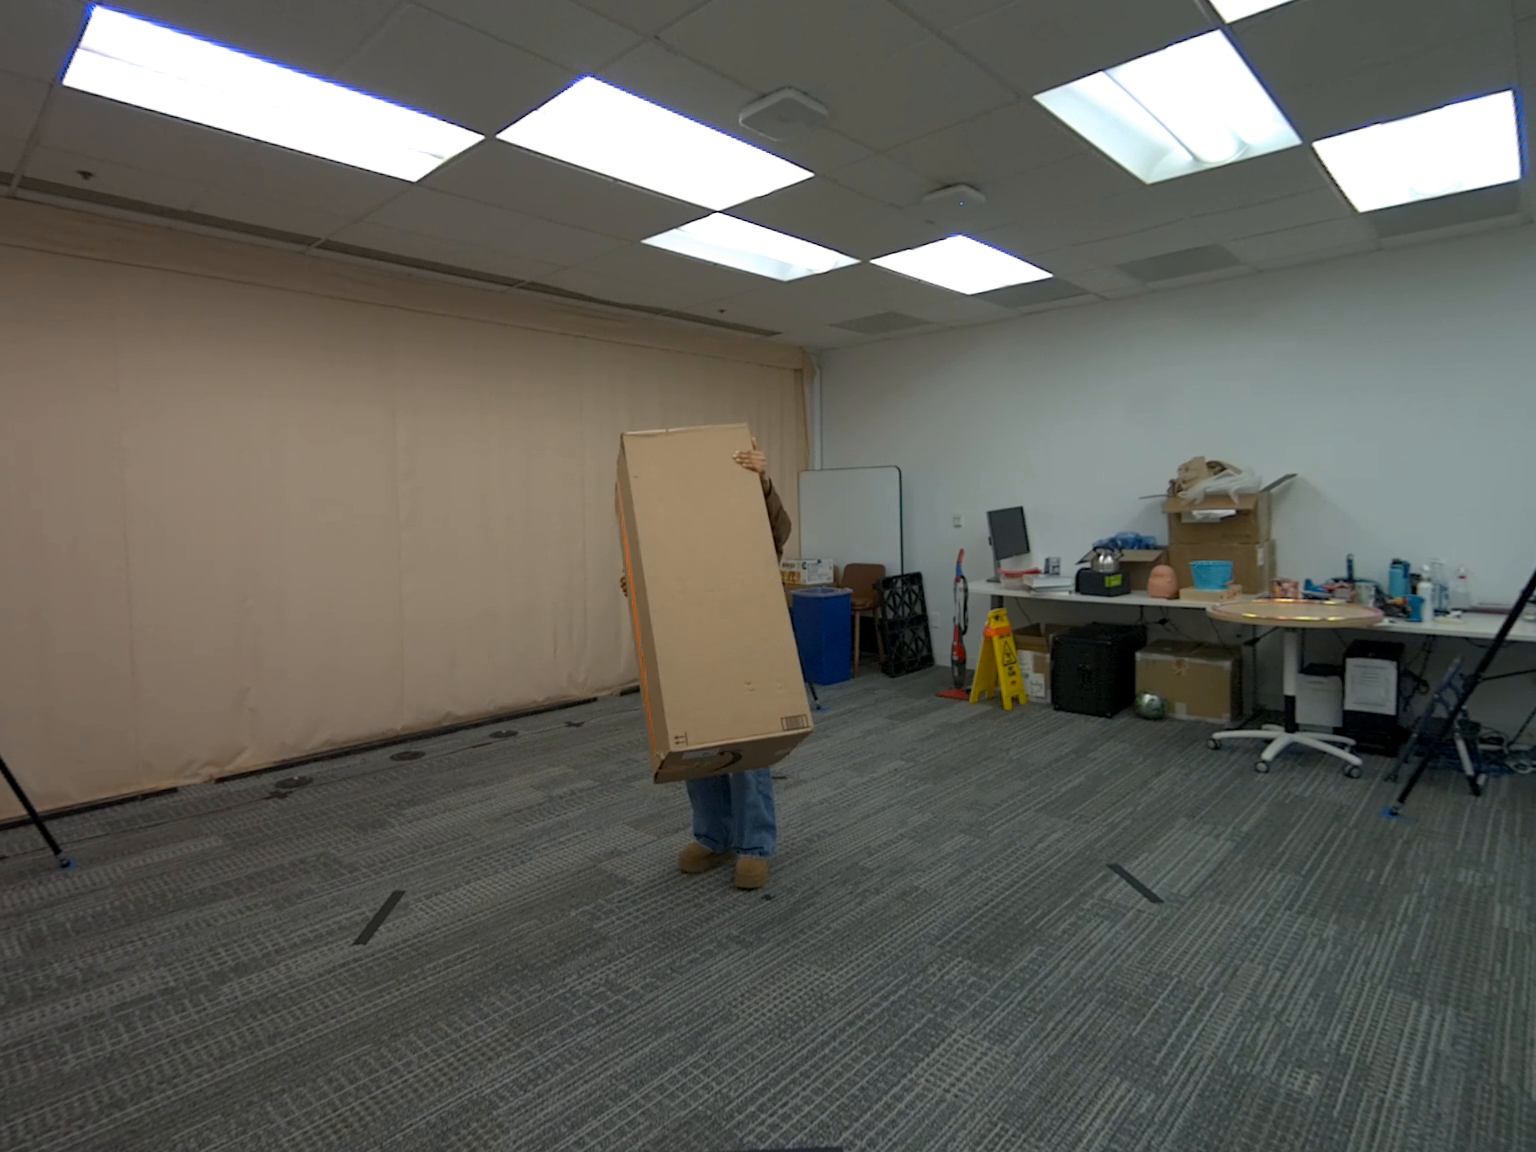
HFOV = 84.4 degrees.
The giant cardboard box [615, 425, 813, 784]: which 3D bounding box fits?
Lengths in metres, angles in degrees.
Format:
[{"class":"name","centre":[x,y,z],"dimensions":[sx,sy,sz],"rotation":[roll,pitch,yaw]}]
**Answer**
[{"class":"giant cardboard box","centre":[-0.224,0.097,2.799],"dimensions":[0.421,1.043,0.574],"rotation":[-6,-22,-13]}]
